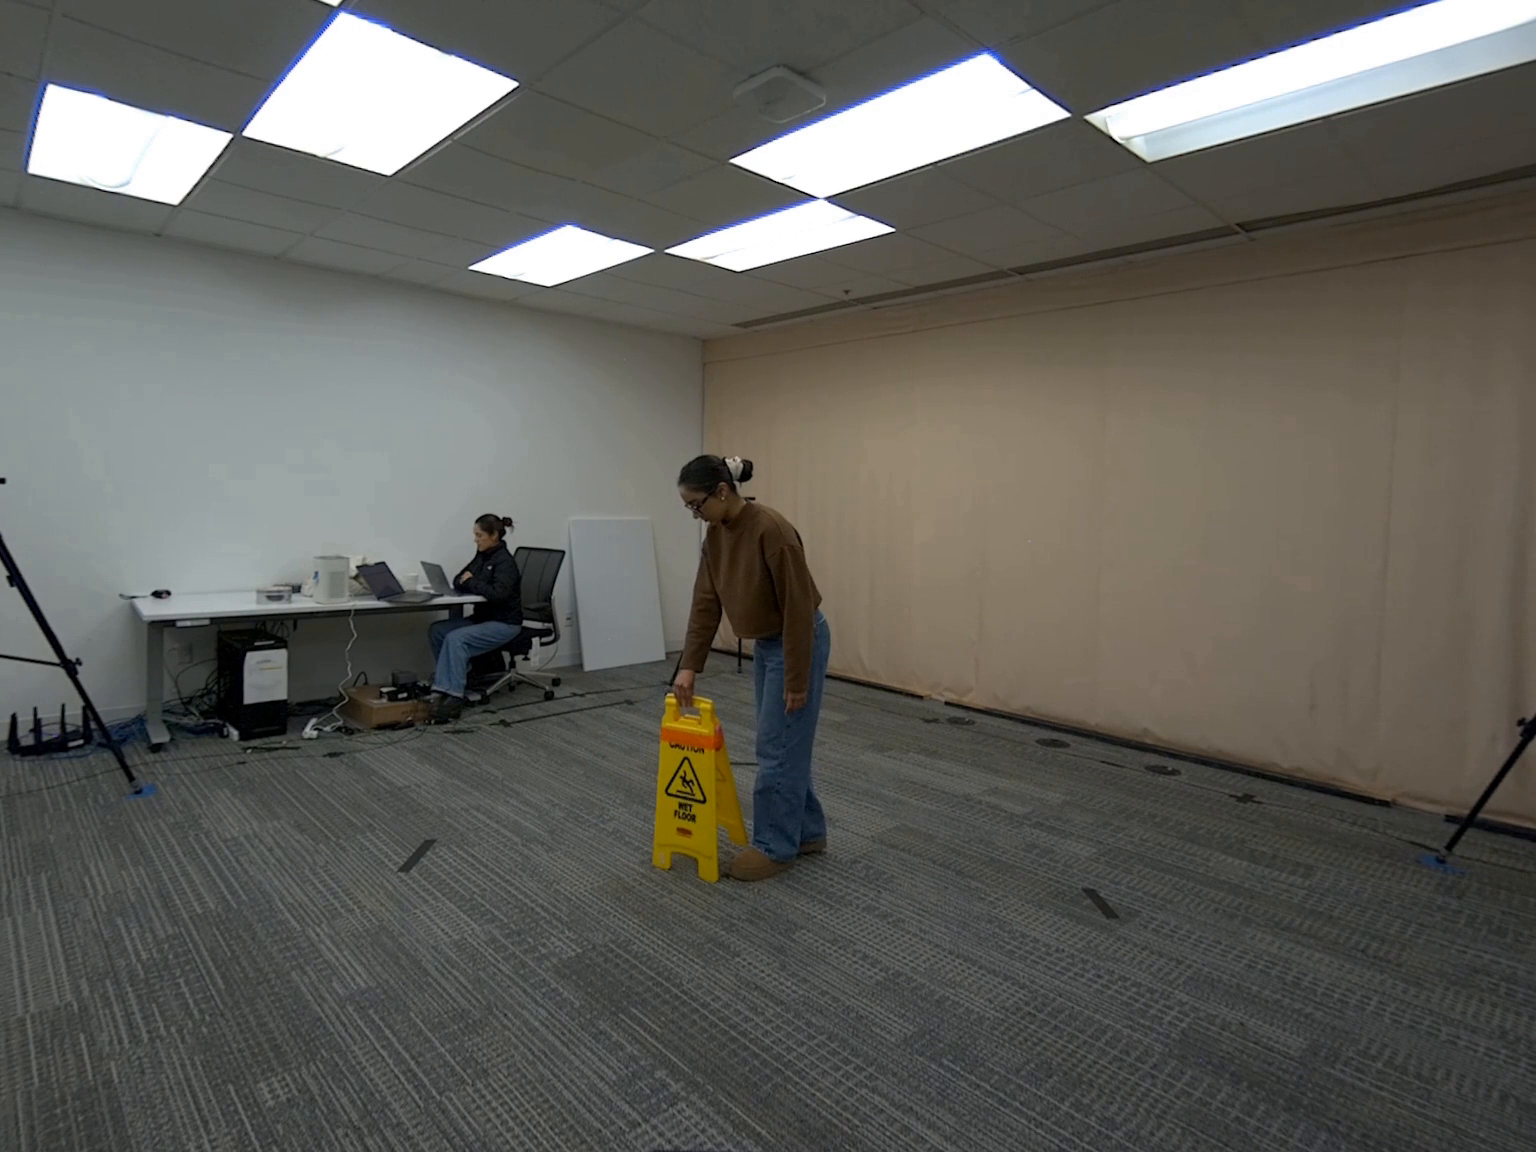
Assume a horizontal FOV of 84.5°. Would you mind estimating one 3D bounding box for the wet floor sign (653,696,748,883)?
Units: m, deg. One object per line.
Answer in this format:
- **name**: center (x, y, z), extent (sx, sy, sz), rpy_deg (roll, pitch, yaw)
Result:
- **wet floor sign**: center (-0.273, 0.753, 3.159), extent (0.288, 0.640, 0.287), rpy_deg (4, 14, 26)
